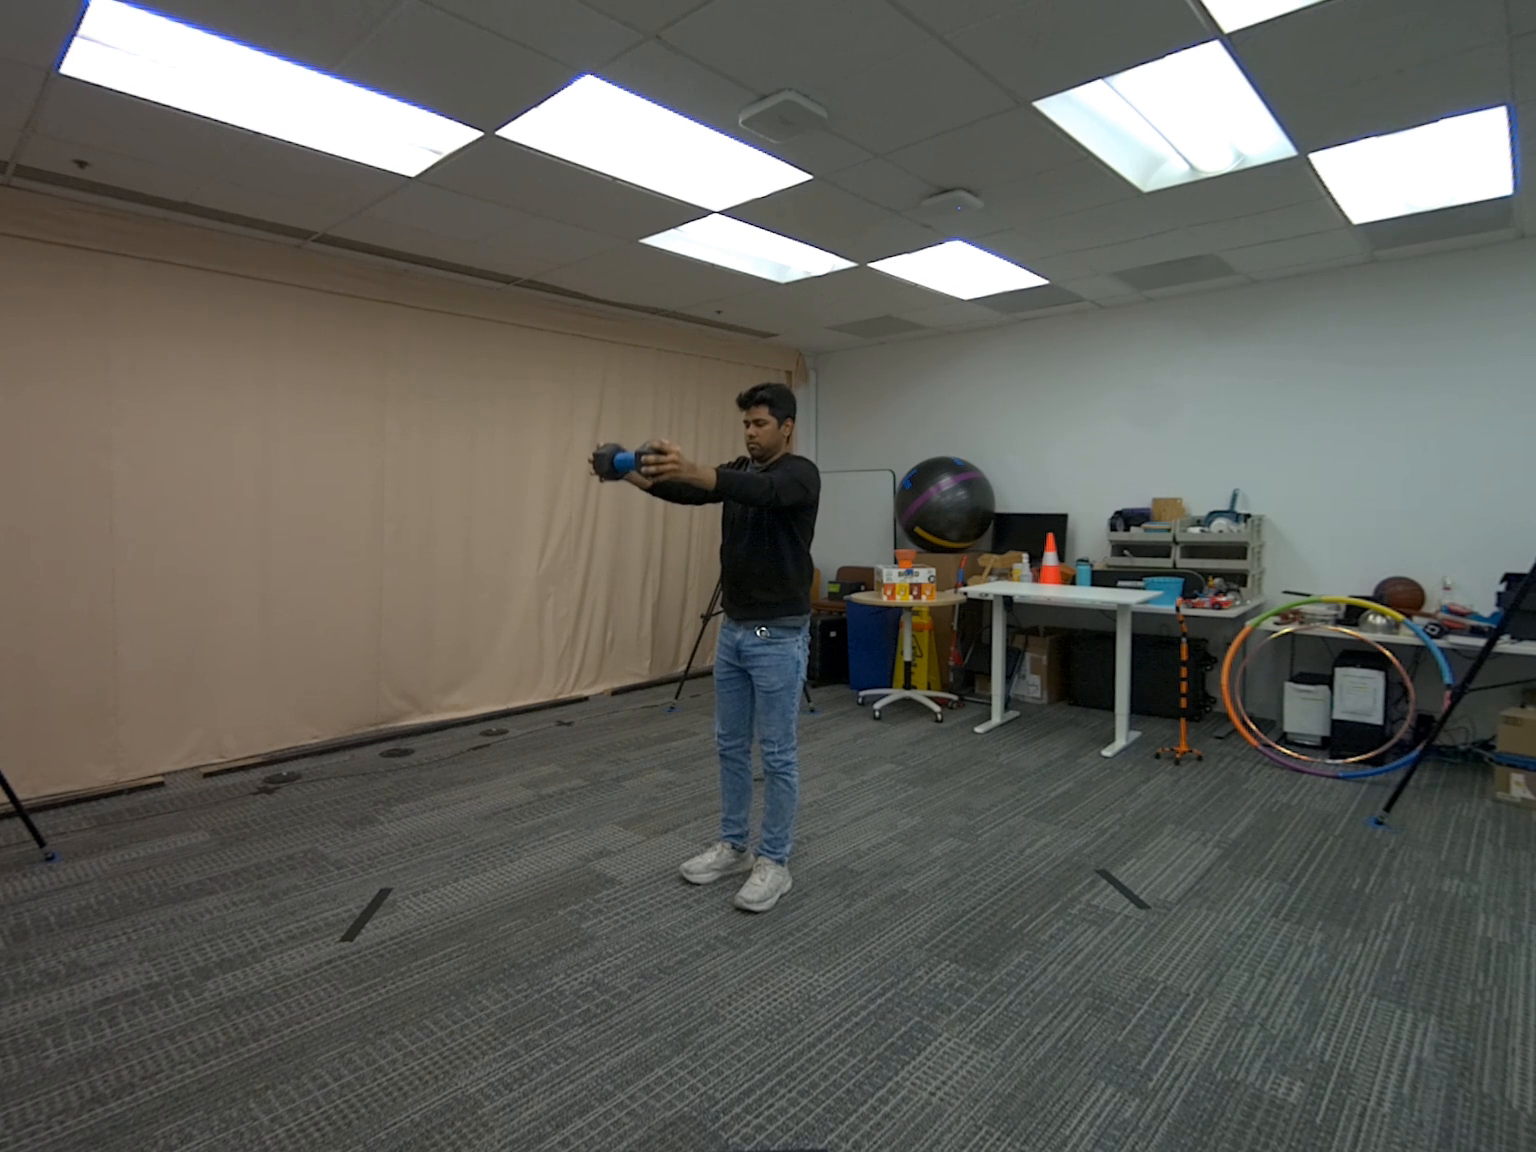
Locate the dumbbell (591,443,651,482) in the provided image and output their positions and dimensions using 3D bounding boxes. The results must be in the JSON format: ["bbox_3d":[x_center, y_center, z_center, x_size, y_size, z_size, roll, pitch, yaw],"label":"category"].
[{"bbox_3d":[-0.406,-0.343,2.633,0.303,0.122,0.105,5,7,44],"label":"dumbbell"}]
